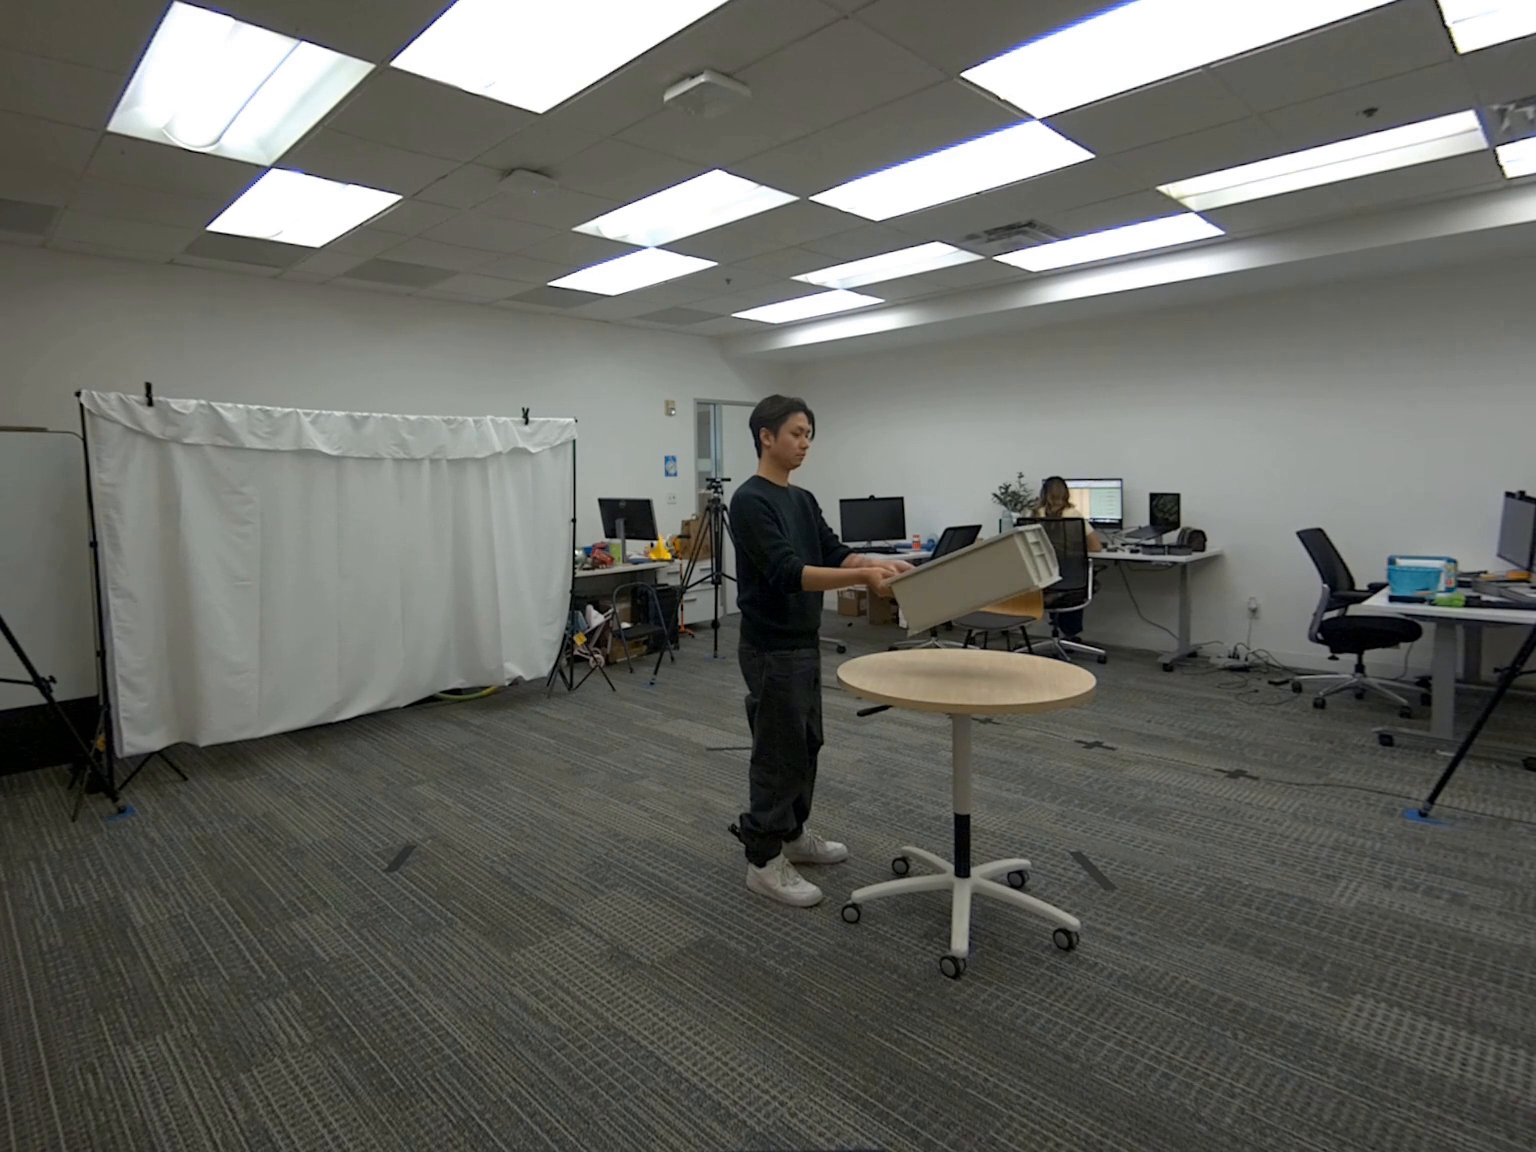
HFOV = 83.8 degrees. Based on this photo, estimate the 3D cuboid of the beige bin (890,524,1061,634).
[{"bbox_3d":[0.629,0.016,2.578,0.428,0.191,0.369,-23,-6,28],"label":"beige bin"}]
